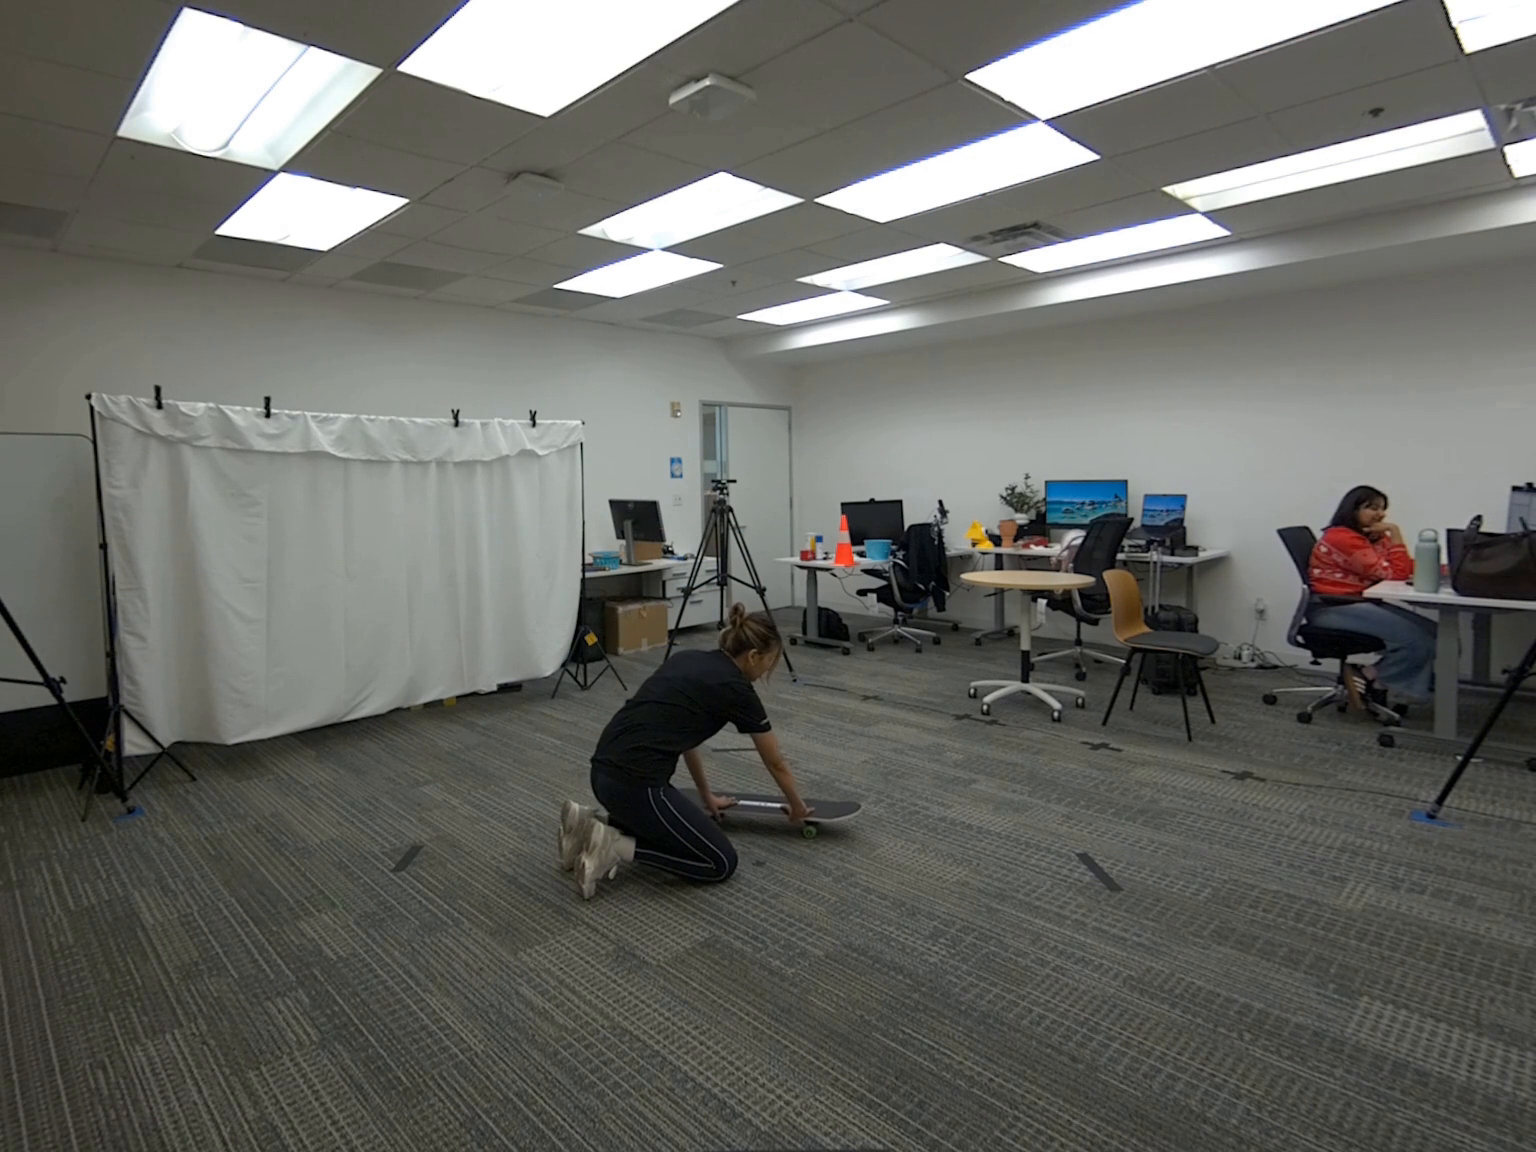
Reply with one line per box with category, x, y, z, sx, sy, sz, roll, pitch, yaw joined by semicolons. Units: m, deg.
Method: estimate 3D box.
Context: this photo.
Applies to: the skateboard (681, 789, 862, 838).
skateboard;-0.020;0.947;3.445;0.797;0.110;0.191;1;7;15
